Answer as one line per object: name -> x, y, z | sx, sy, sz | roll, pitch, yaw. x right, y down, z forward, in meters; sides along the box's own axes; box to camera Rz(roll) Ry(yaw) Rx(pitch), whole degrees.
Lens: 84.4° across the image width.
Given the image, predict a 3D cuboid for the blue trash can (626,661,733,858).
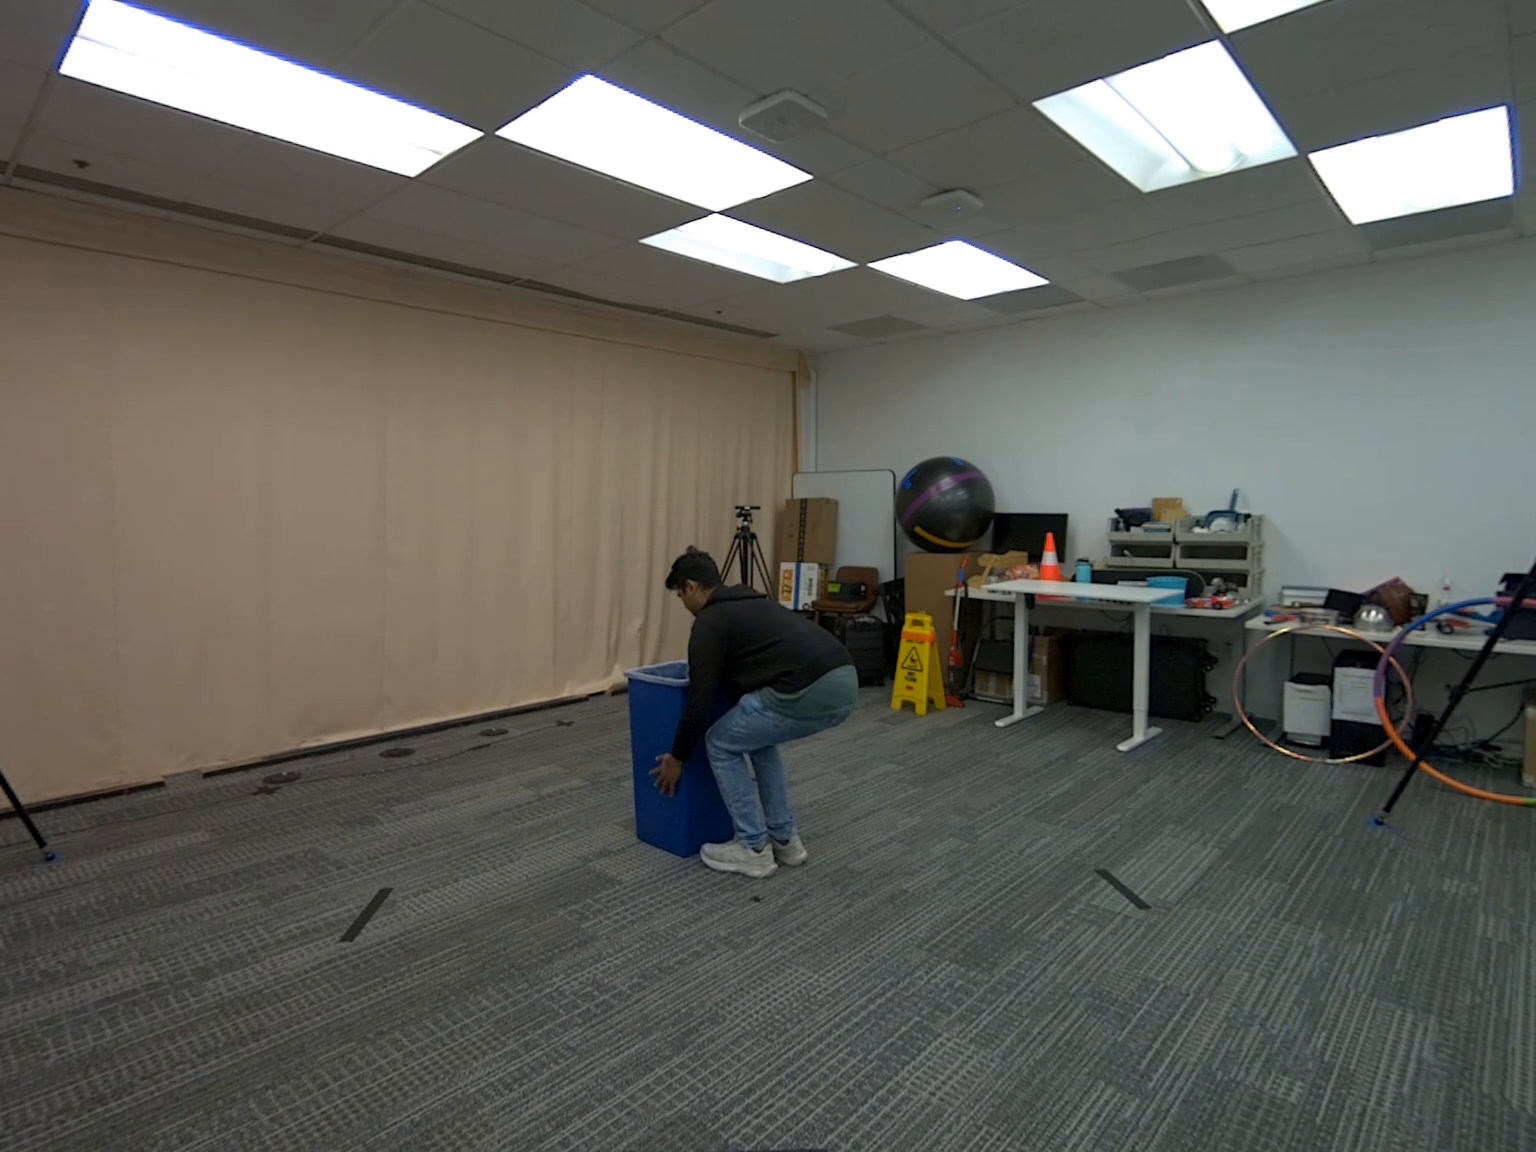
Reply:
blue trash can -> -0.356, 0.745, 3.527 | 0.386, 0.712, 0.366 | 1, 3, 42
